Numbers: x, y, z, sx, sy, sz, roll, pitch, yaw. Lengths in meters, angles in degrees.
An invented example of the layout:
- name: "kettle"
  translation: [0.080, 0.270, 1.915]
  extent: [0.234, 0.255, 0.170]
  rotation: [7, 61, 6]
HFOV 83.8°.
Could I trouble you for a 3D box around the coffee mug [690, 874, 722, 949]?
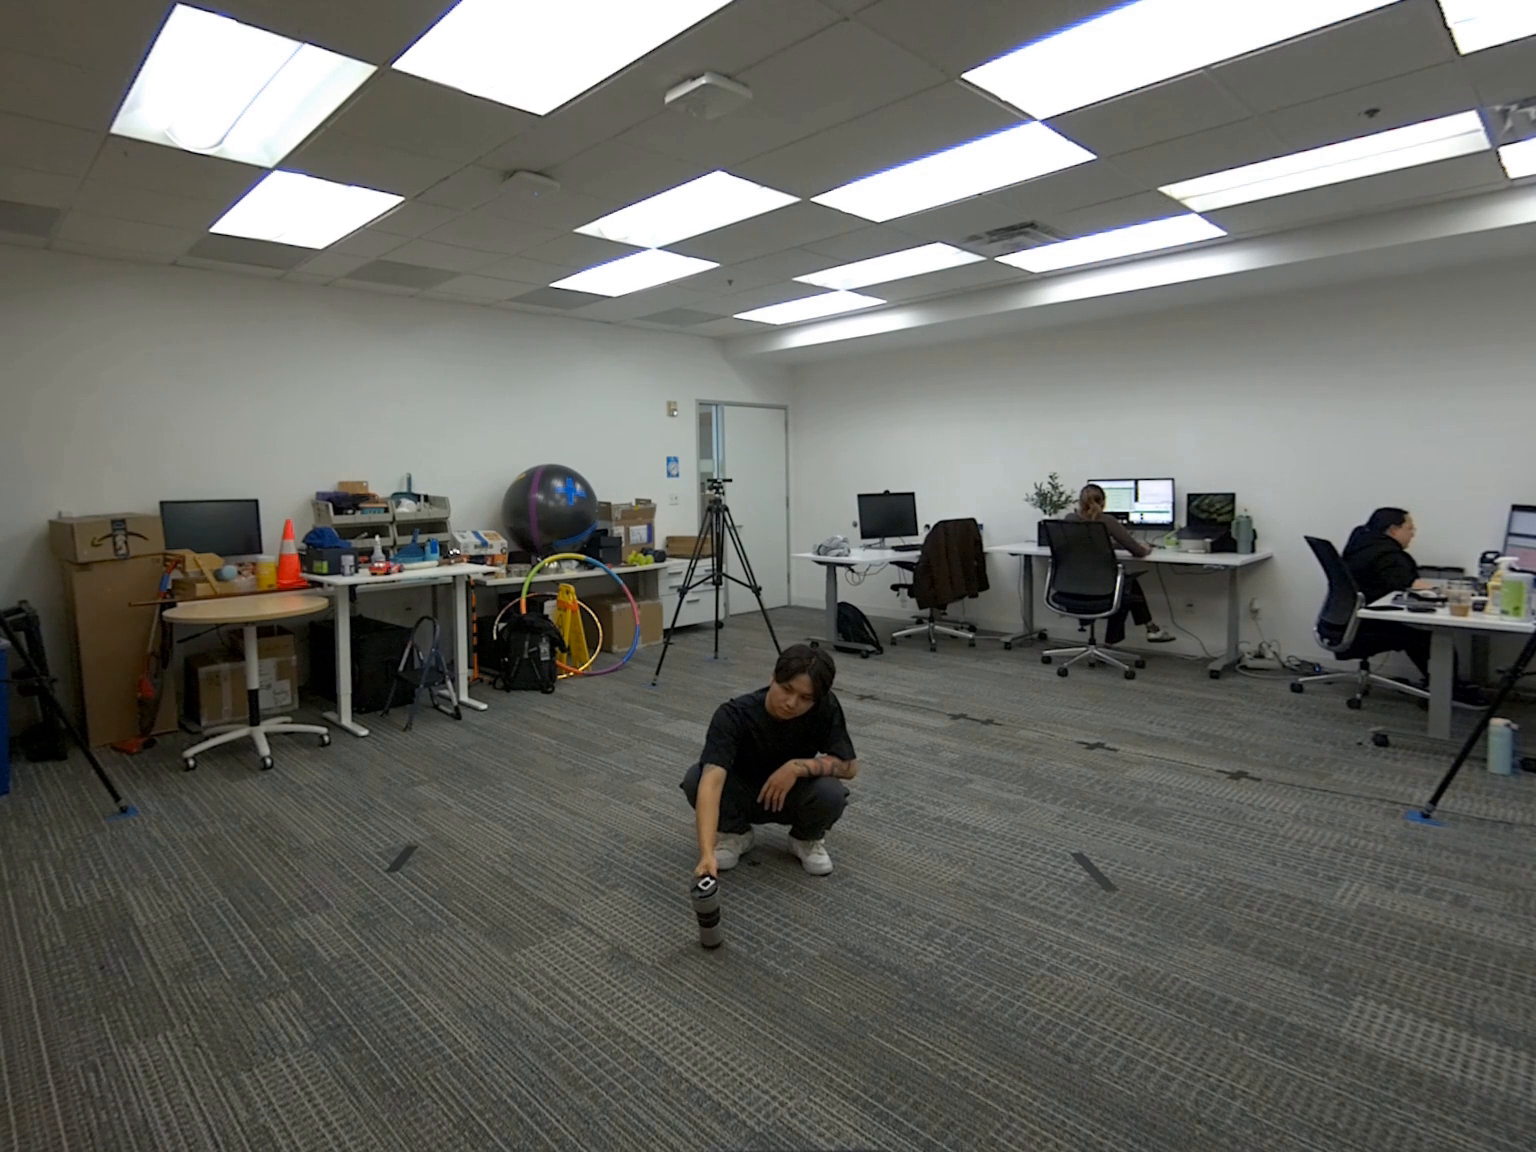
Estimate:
- name: "coffee mug"
  translation: [-0.166, 0.987, 2.542]
  extent: [0.091, 0.200, 0.120]
  rotation: [6, 21, 45]
